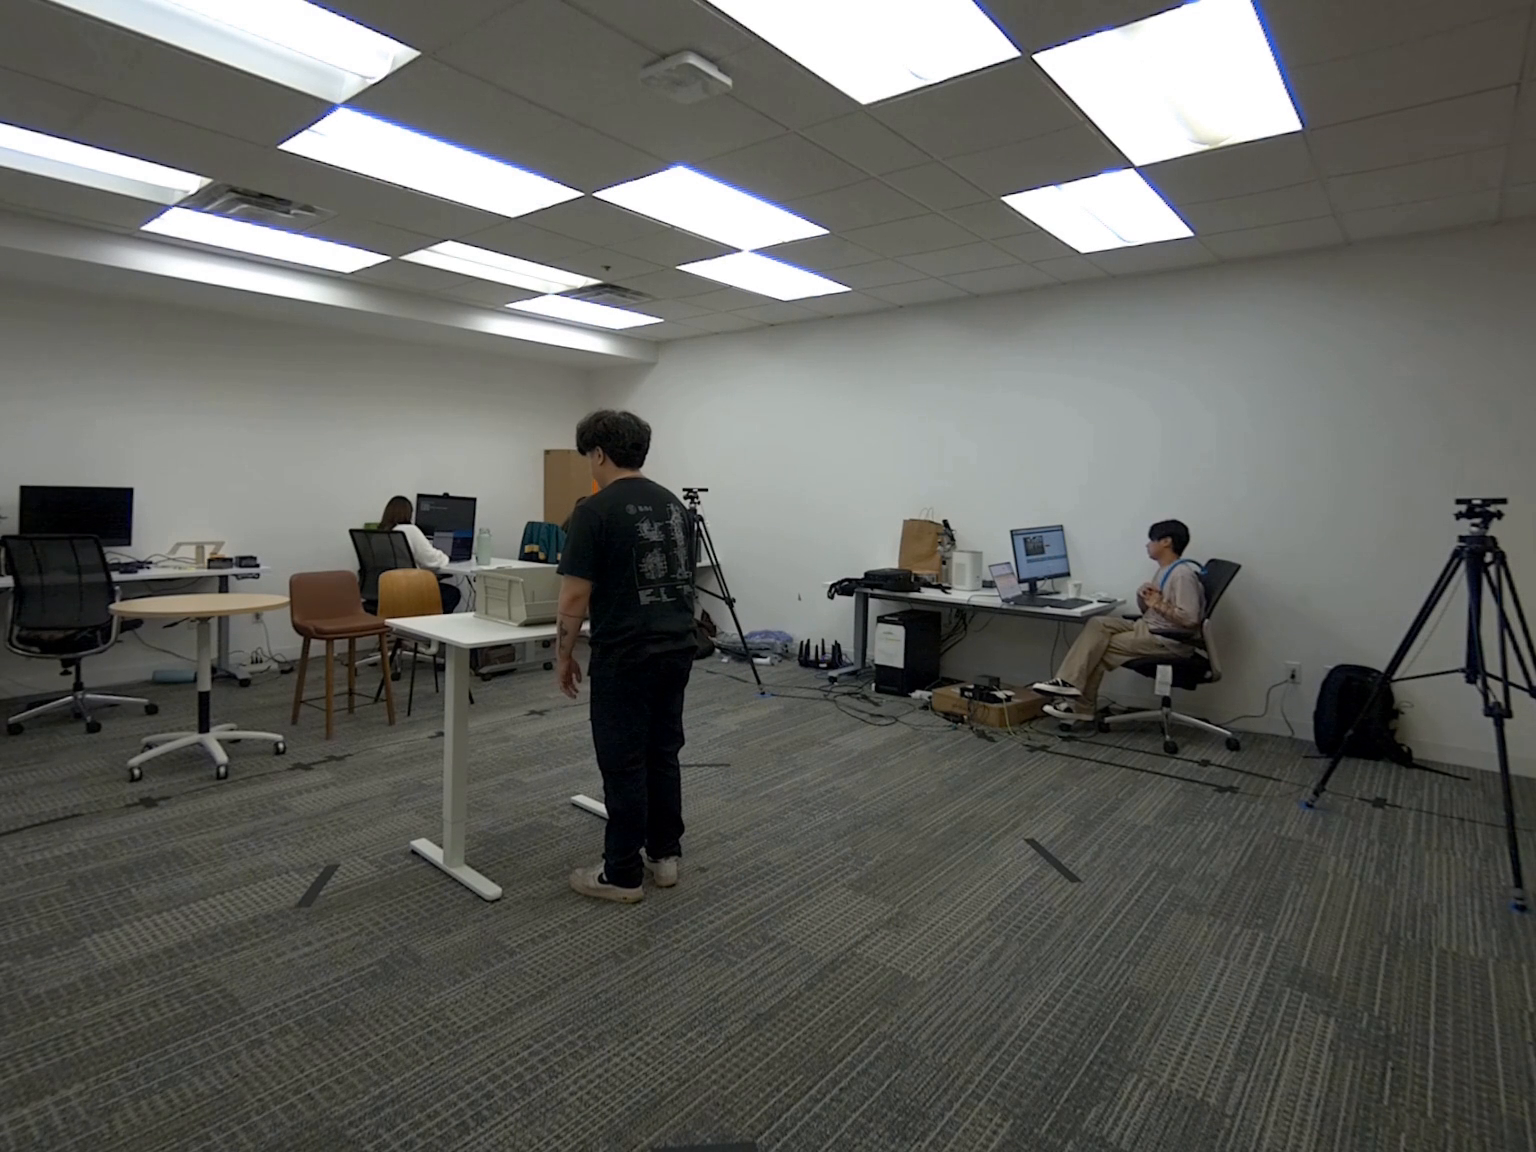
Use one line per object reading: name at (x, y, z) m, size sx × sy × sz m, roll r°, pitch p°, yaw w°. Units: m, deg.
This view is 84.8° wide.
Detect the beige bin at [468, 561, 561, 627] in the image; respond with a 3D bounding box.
beige bin at (-0.879, 0.071, 3.290) m, size 0.390 × 0.188 × 0.410 m, roll 5°, pitch 7°, yaw 43°
